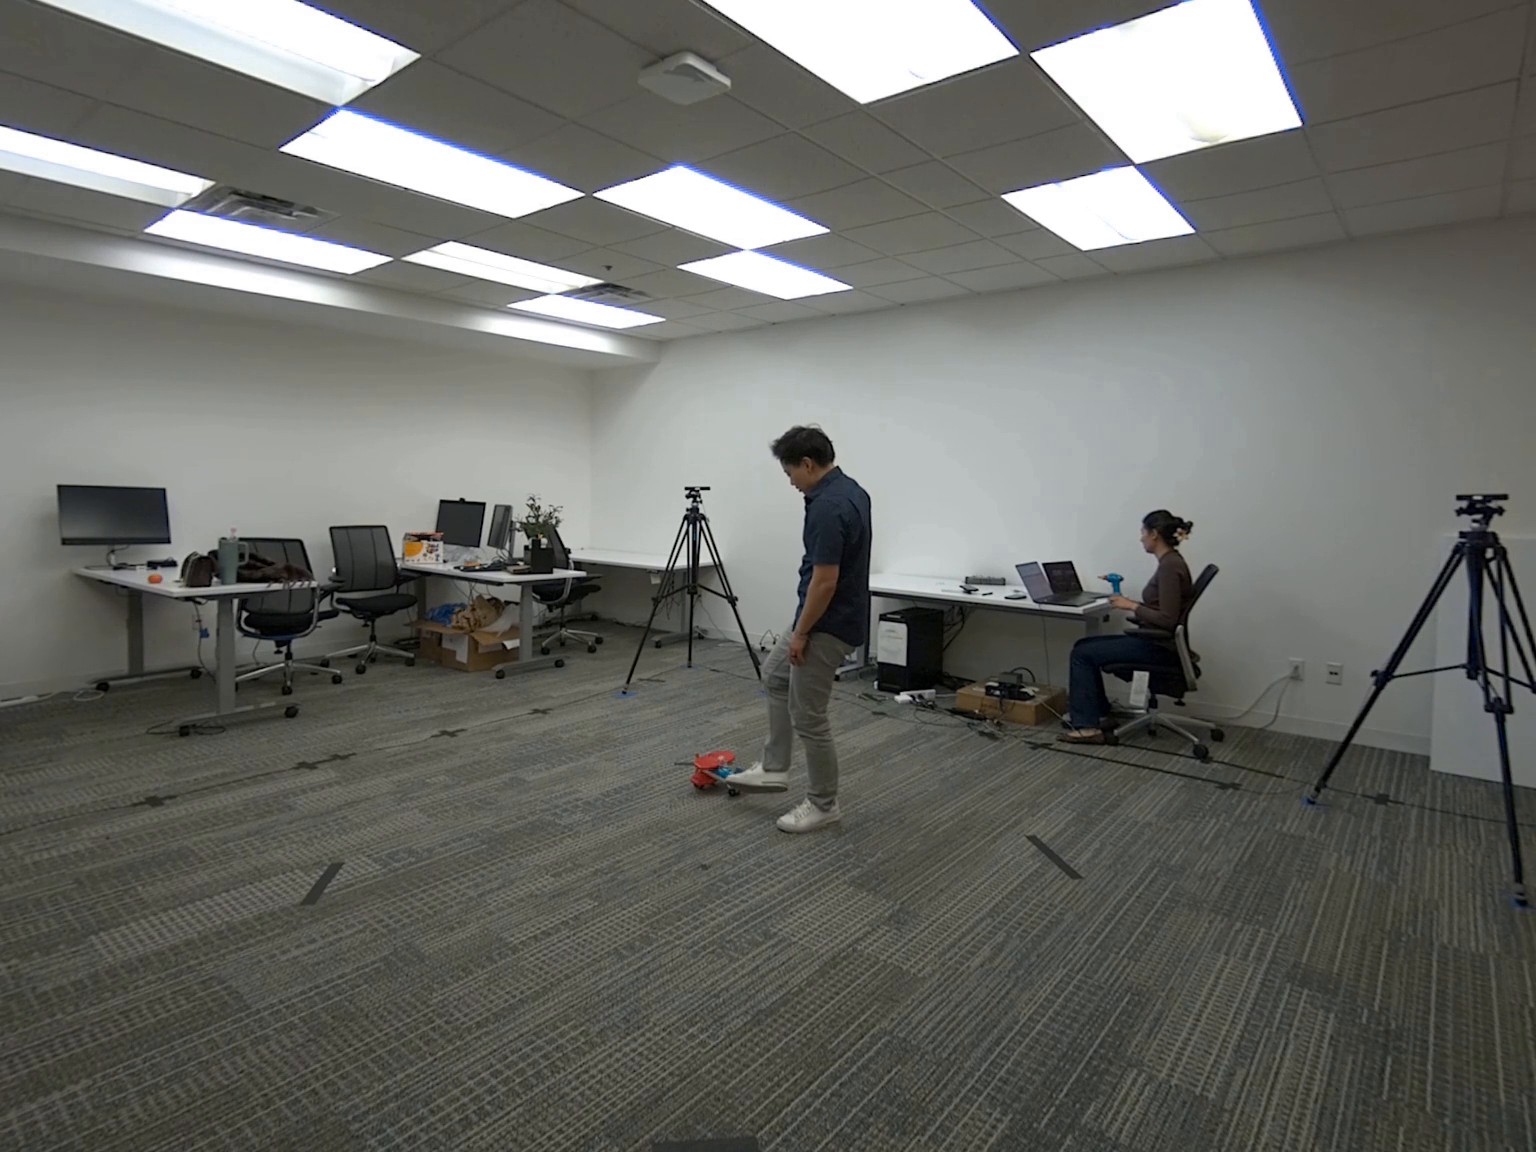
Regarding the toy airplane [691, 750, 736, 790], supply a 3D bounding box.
[{"bbox_3d":[-0.229,0.908,3.937,0.262,0.156,0.249,1,4,10],"label":"toy airplane"}]
